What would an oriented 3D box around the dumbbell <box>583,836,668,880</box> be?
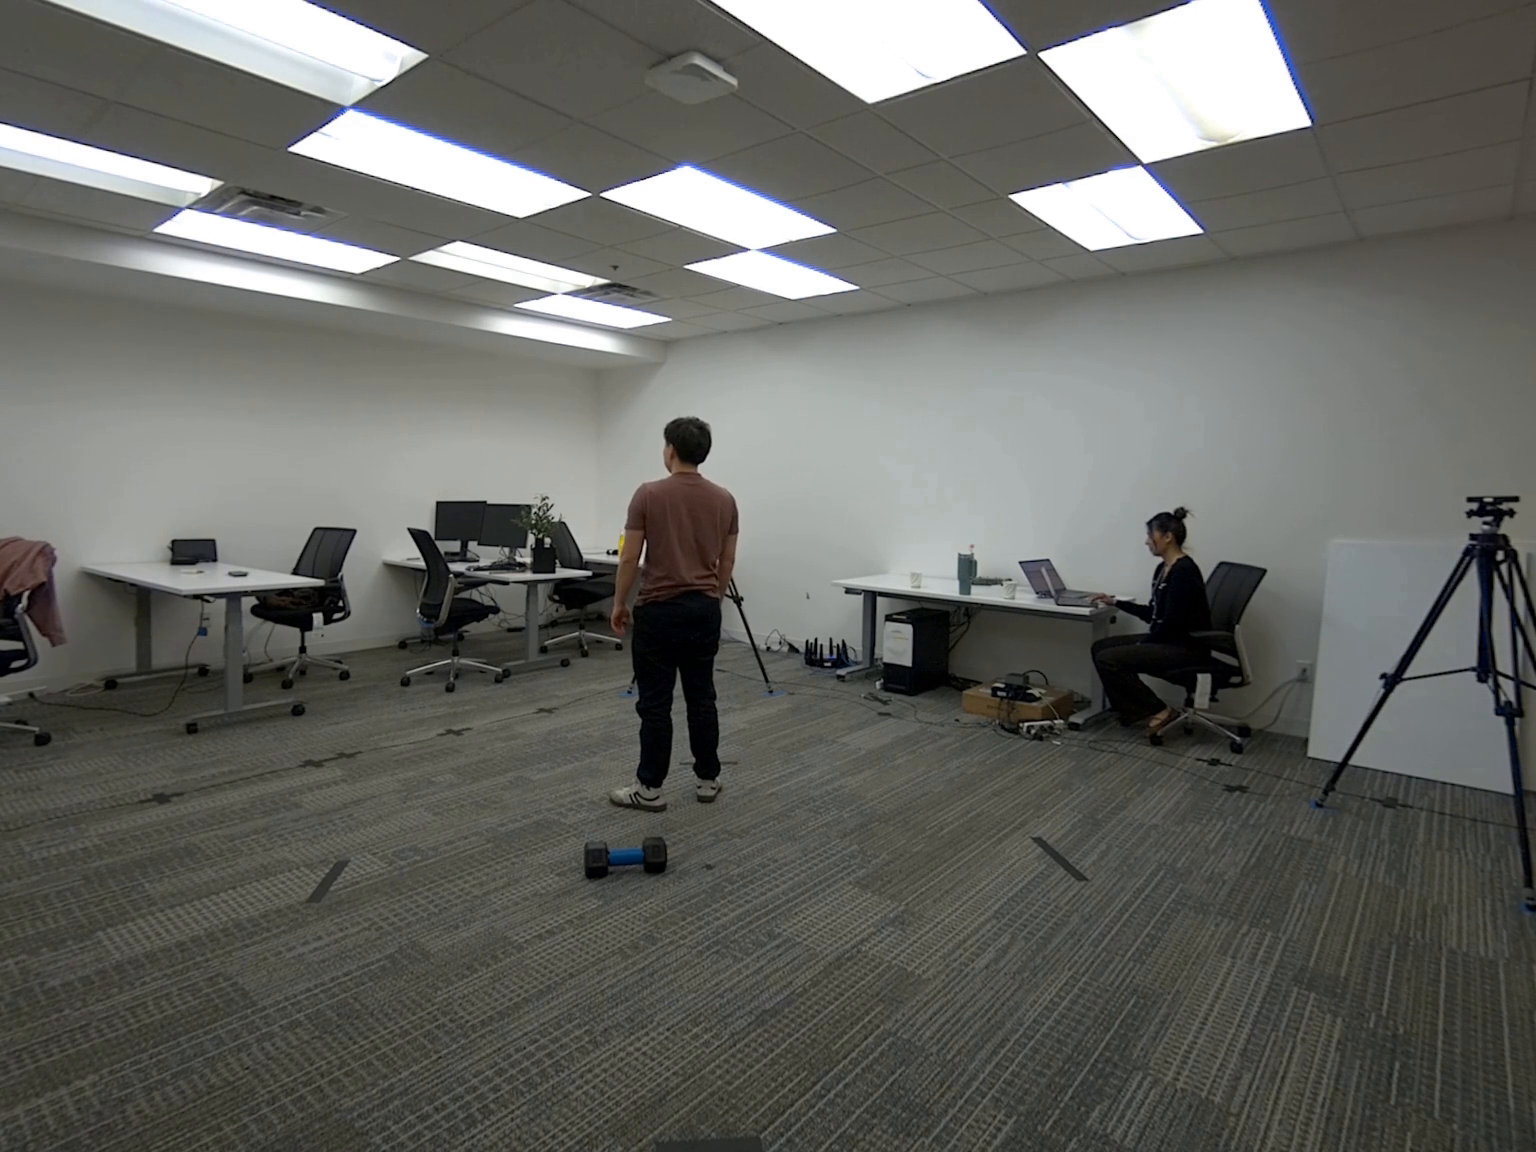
[{"bbox_3d":[-0.522,1.012,3.067,0.289,0.120,0.112,0,34,-13],"label":"dumbbell"}]
